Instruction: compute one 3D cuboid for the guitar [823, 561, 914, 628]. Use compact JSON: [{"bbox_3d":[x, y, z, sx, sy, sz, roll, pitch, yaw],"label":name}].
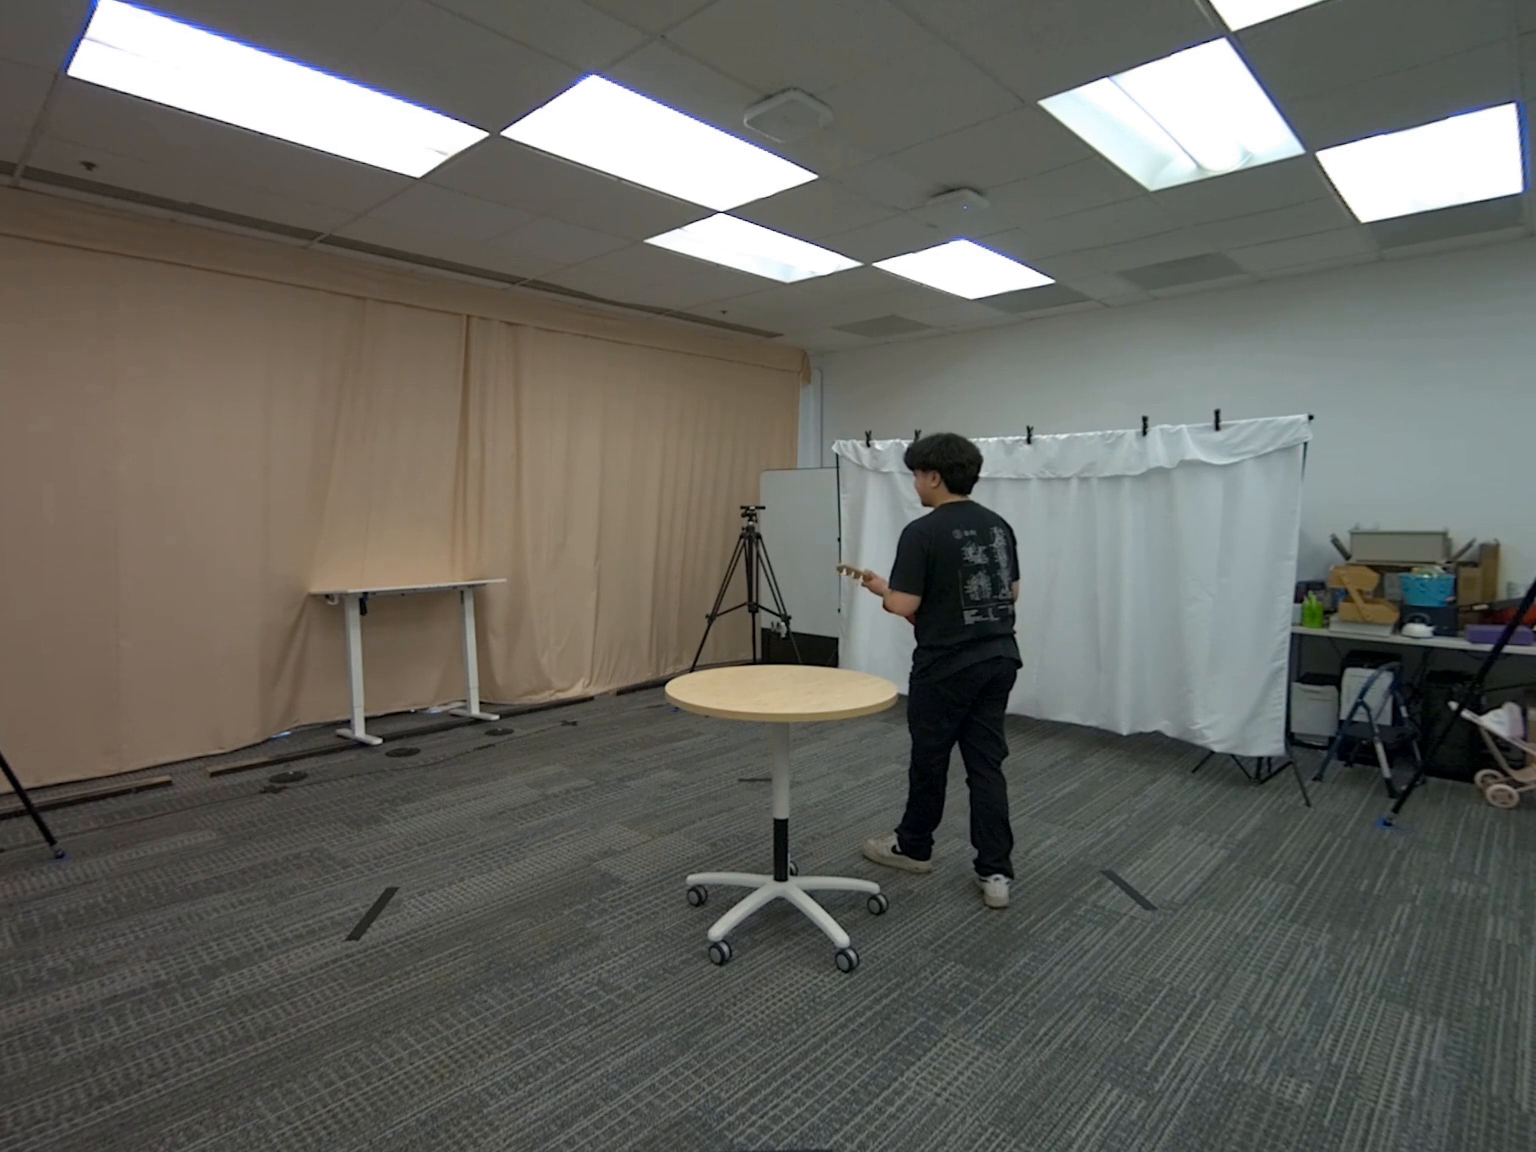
[{"bbox_3d":[0.484,0.089,3.300,0.493,0.071,0.193,19,-29,-9],"label":"guitar"}]
